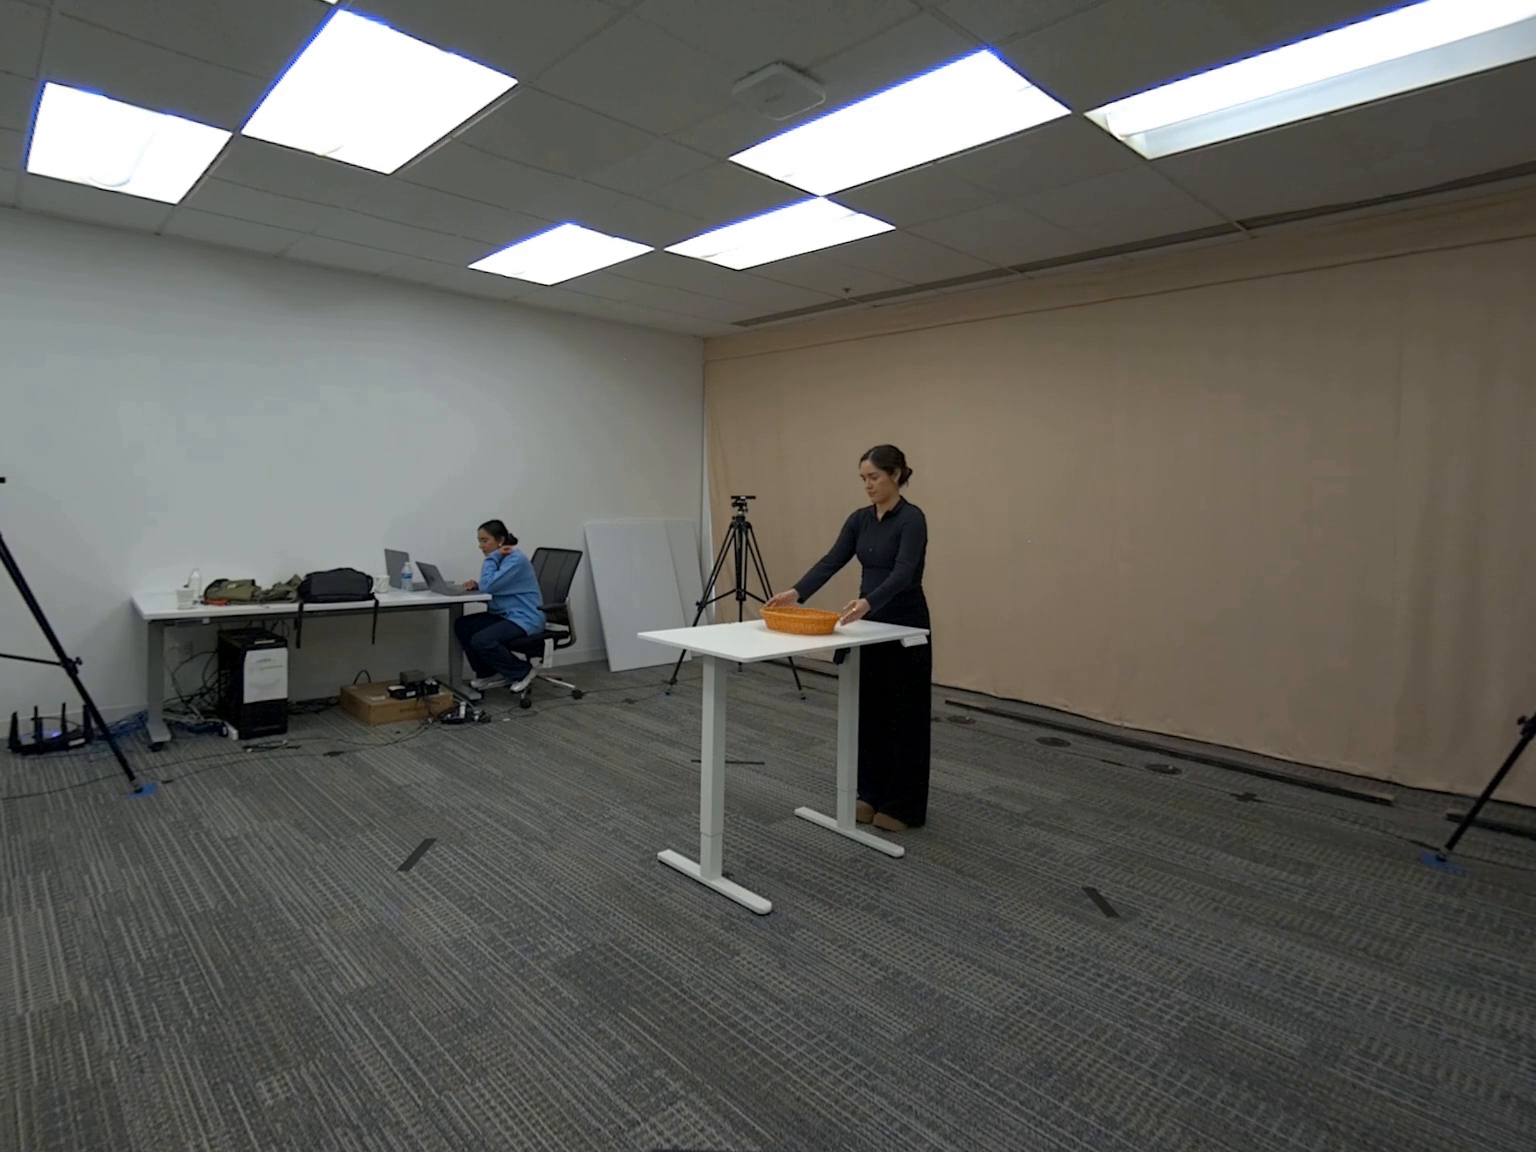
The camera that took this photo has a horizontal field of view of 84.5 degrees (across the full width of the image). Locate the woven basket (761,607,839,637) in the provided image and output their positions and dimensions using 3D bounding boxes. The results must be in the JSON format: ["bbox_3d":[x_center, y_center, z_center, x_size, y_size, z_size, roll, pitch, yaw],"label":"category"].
[{"bbox_3d":[0.126,0.180,3.283,0.247,0.073,0.359,-3,6,-40],"label":"woven basket"}]
